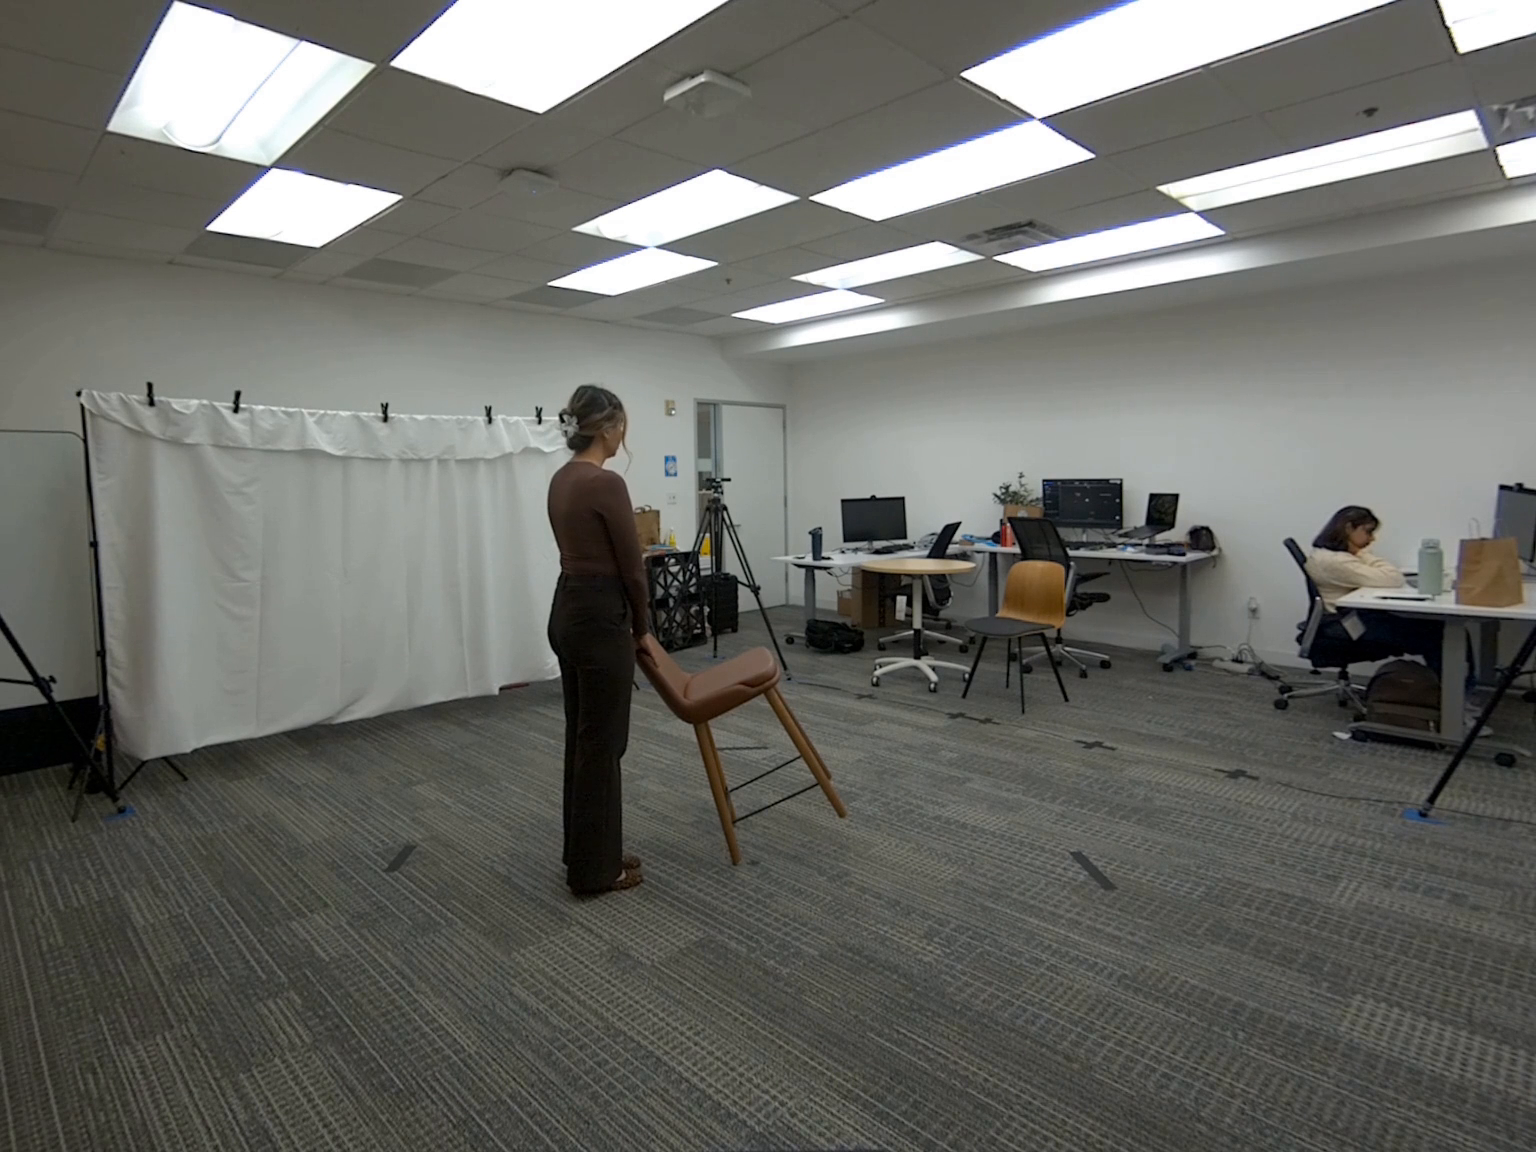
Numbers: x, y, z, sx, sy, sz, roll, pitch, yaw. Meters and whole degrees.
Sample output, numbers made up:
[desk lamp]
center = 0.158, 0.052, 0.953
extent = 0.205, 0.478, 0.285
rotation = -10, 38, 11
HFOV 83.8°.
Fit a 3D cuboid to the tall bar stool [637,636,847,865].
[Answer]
[tall bar stool]
center = -0.121, 0.544, 3.247
extent = 0.468, 0.885, 0.459
rotation = -27, 4, 1
